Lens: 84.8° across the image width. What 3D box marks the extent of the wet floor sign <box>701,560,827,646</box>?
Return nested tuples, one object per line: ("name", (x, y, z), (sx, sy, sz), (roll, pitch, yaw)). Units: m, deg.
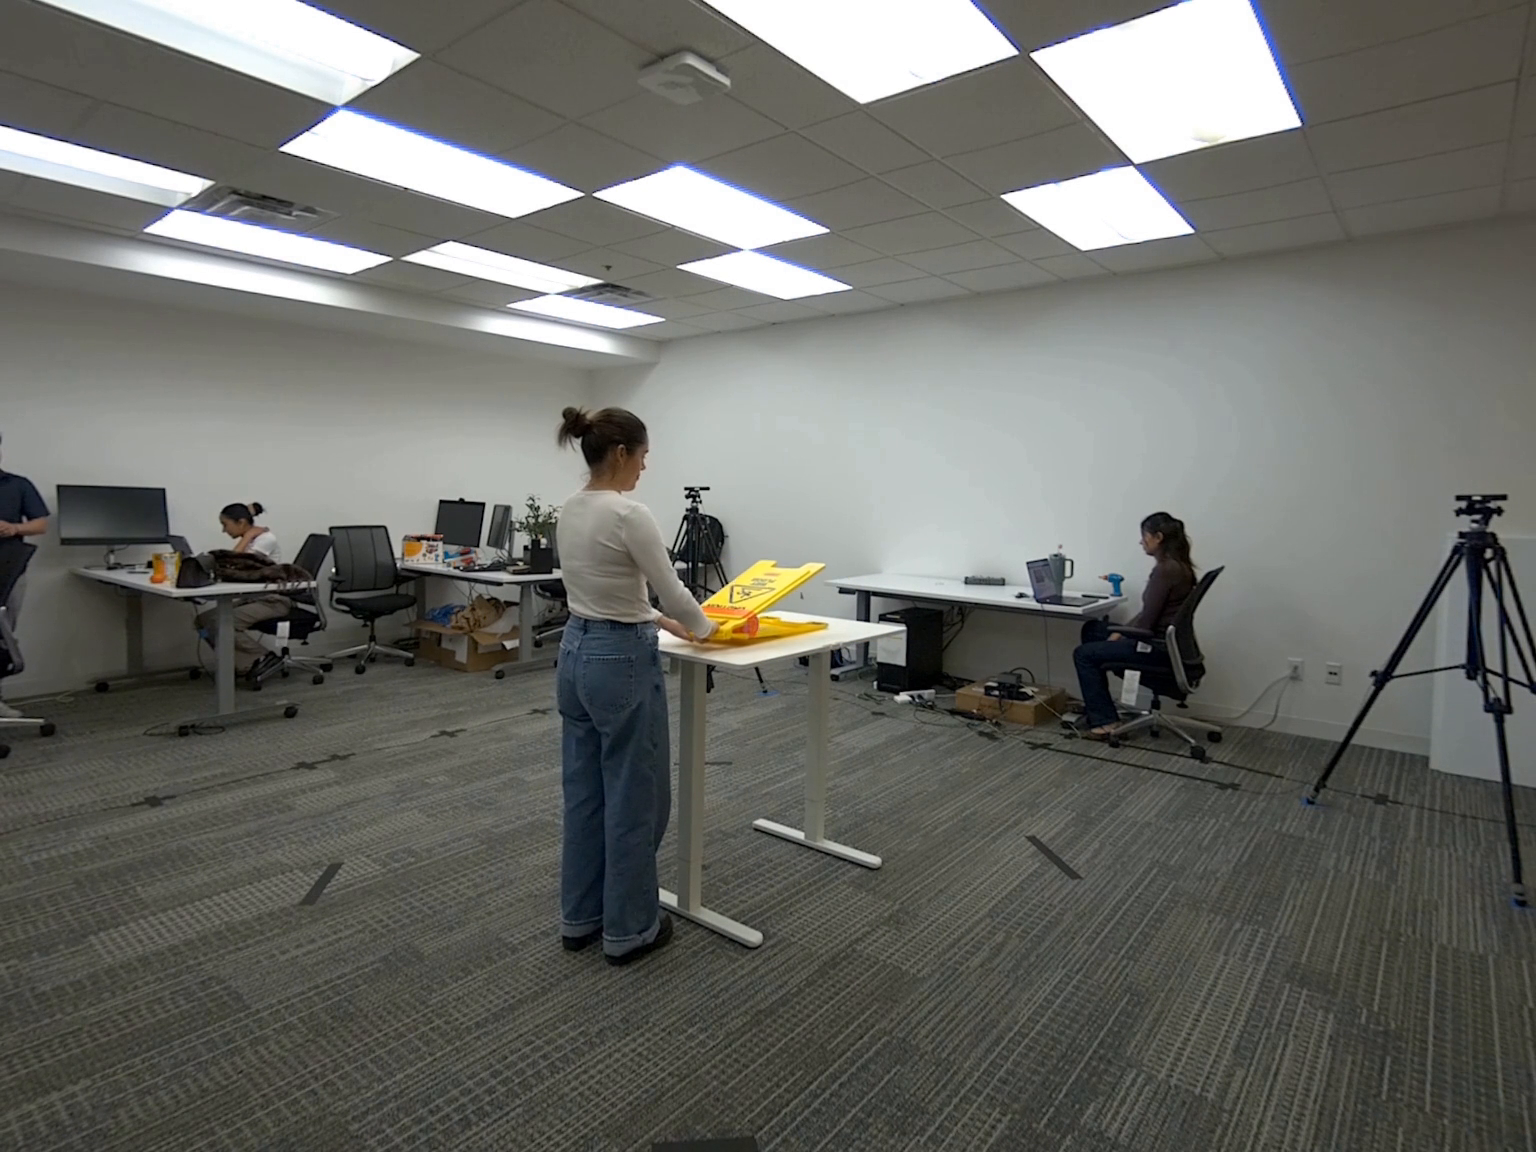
("wet floor sign", (-0.074, 0.129, 2.941), (0.291, 0.287, 0.633), (2, 11, 31))
